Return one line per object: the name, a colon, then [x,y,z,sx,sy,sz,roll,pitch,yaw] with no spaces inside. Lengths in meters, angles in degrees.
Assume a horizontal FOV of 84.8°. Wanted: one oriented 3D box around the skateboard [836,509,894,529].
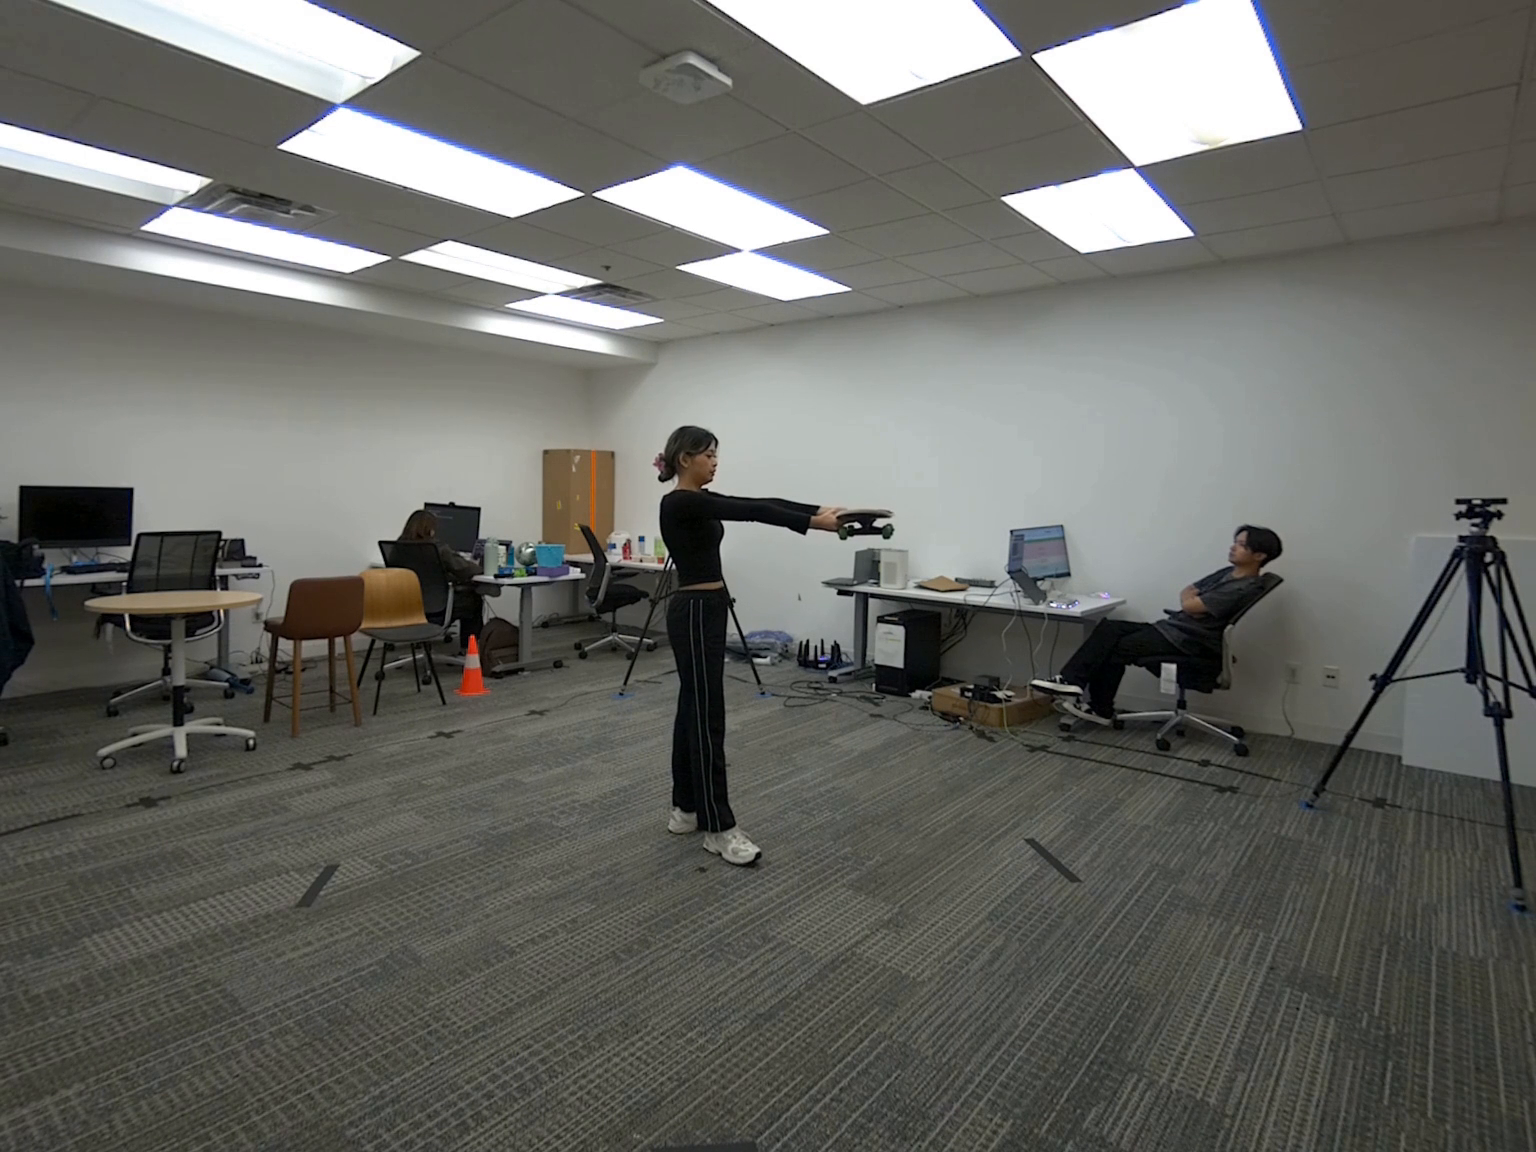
skateboard: [0.350,-0.200,3.250,0.197,0.110,0.775,1,5,14]
